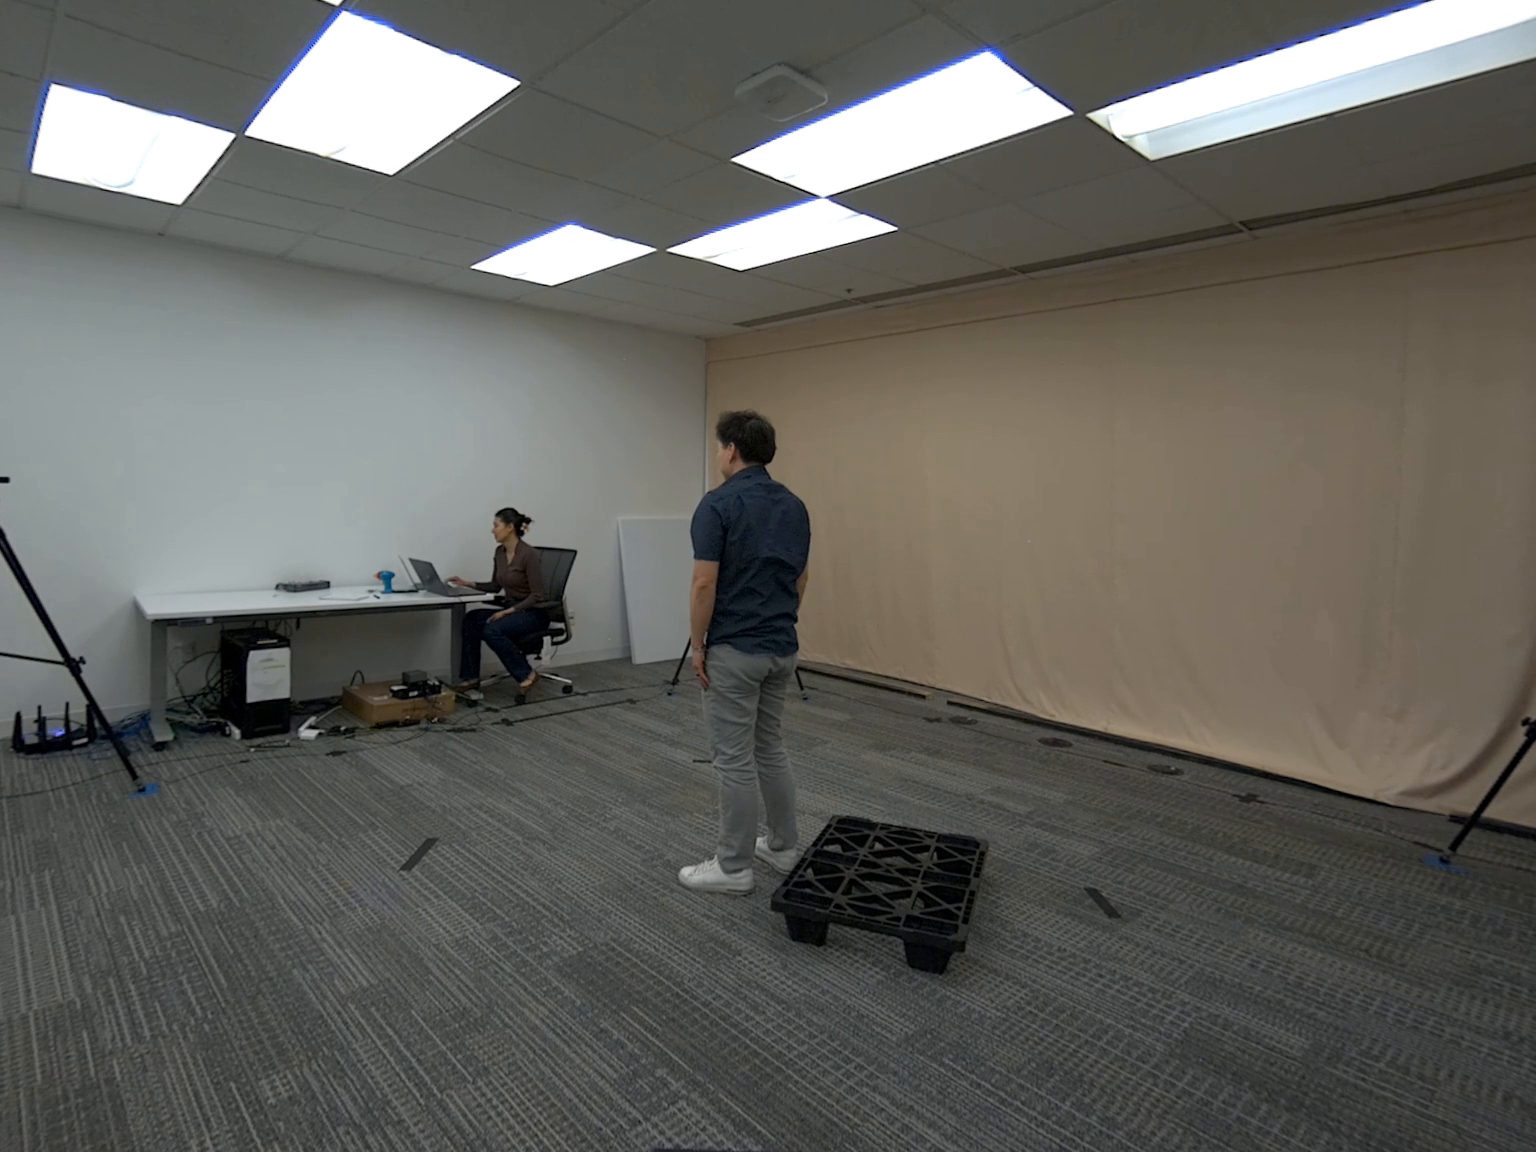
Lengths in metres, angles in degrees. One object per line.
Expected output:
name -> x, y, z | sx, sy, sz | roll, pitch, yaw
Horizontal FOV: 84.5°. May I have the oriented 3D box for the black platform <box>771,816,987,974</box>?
black platform -> 0.402, 1.066, 2.896 | 0.615, 0.143, 0.794 | 3, 5, 20
